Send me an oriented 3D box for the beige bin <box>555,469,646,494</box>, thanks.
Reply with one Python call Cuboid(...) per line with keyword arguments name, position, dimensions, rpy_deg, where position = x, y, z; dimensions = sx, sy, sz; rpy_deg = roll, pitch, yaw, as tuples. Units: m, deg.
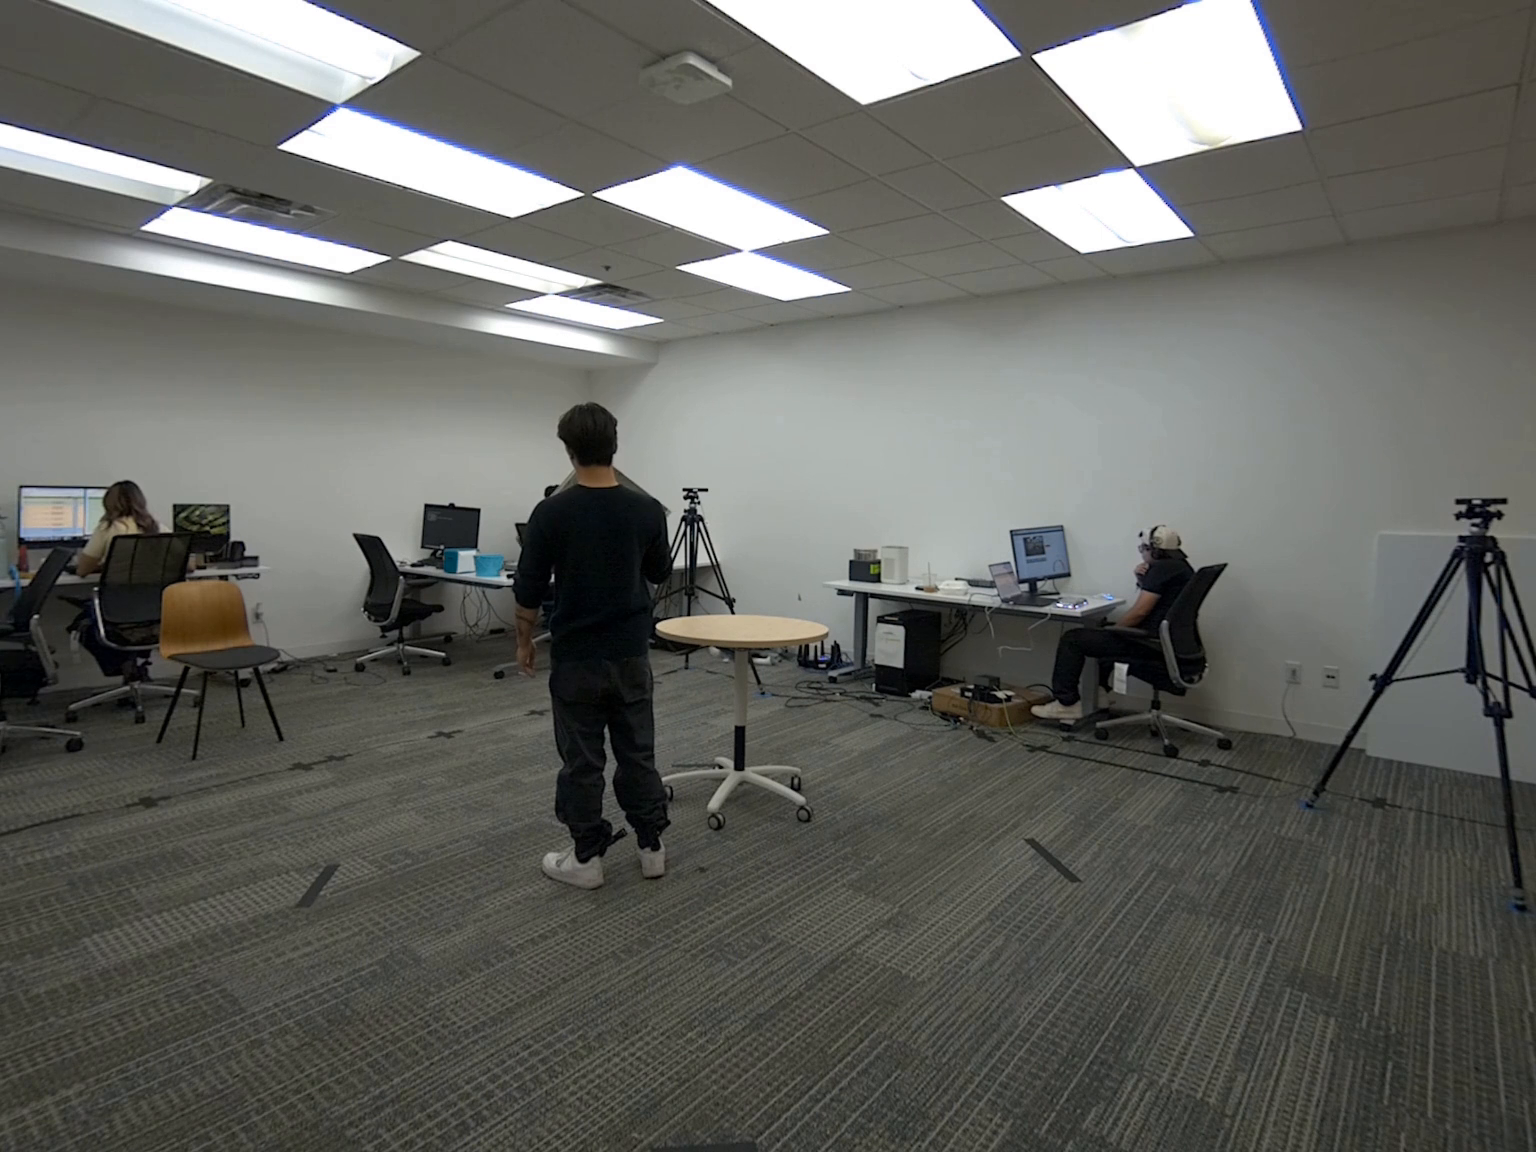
Cuboid(name="beige bin", position=(-0.673, -0.268, 3.524), dimensions=(0.419, 0.379, 0.190), rpy_deg=(37, -23, -6))
